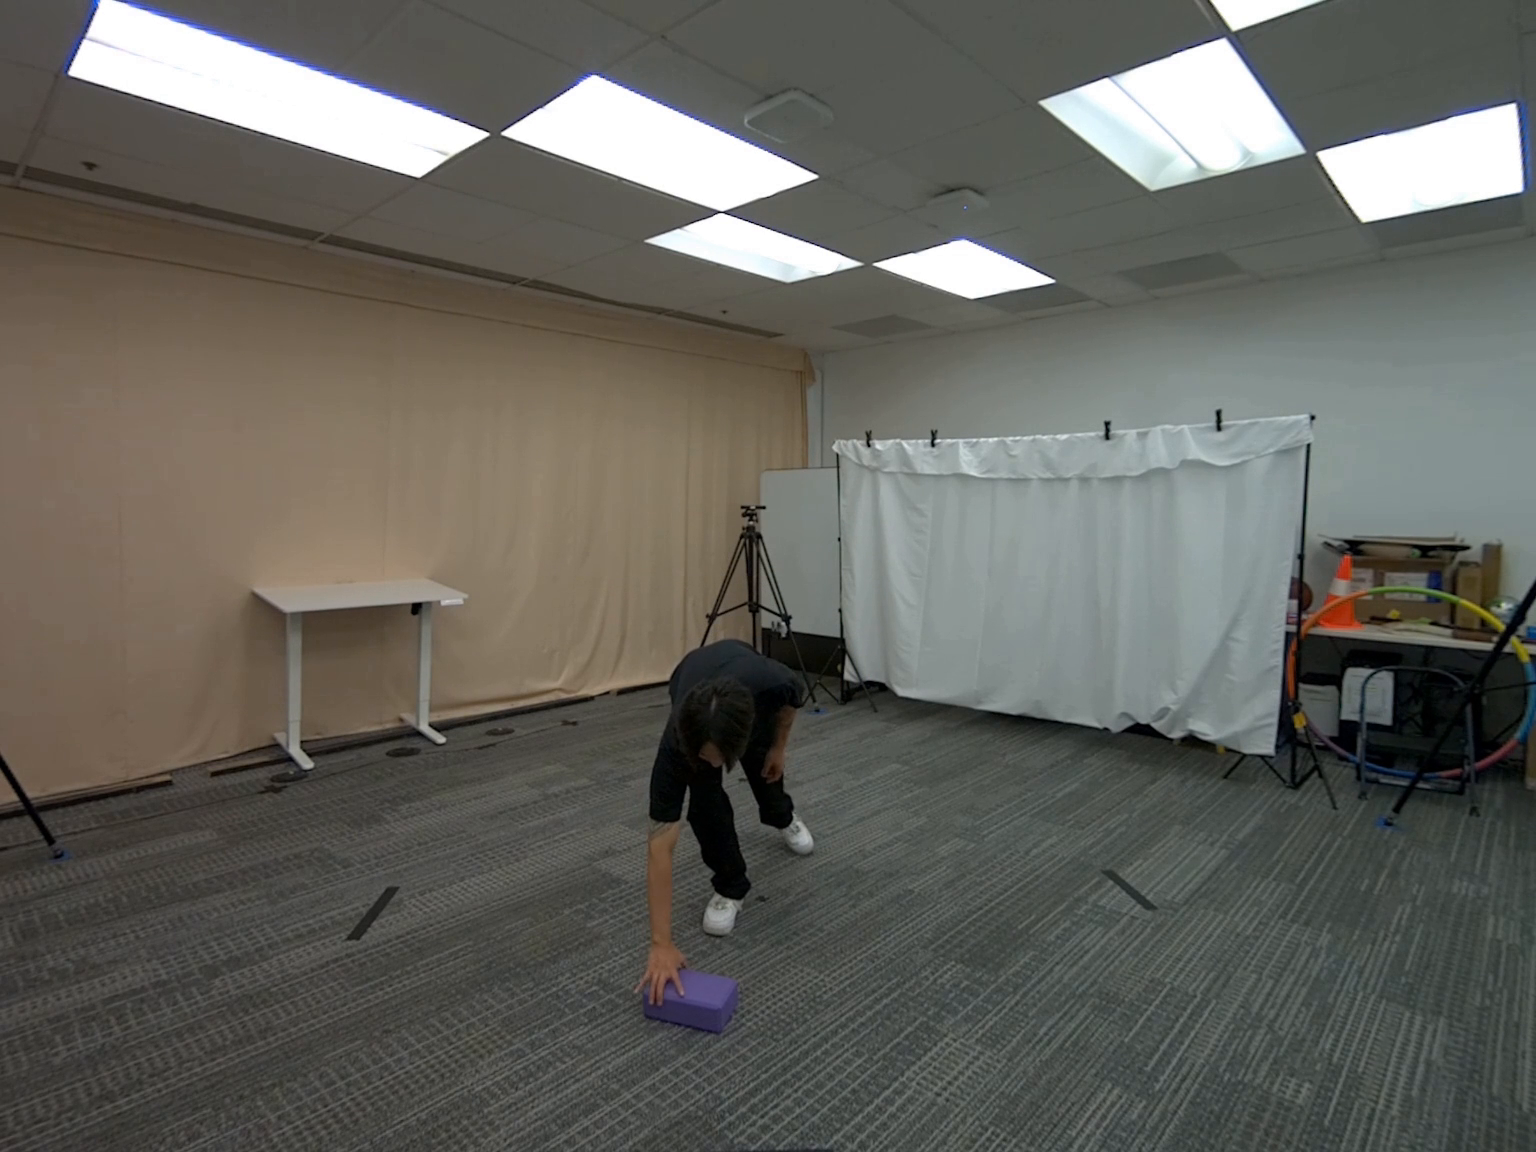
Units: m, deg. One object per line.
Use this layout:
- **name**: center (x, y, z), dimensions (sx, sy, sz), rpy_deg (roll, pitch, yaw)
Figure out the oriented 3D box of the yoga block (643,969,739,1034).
- **yoga block**: center (-0.204, 1.158, 2.318), dimensions (0.234, 0.076, 0.146), rpy_deg (1, 6, 20)
